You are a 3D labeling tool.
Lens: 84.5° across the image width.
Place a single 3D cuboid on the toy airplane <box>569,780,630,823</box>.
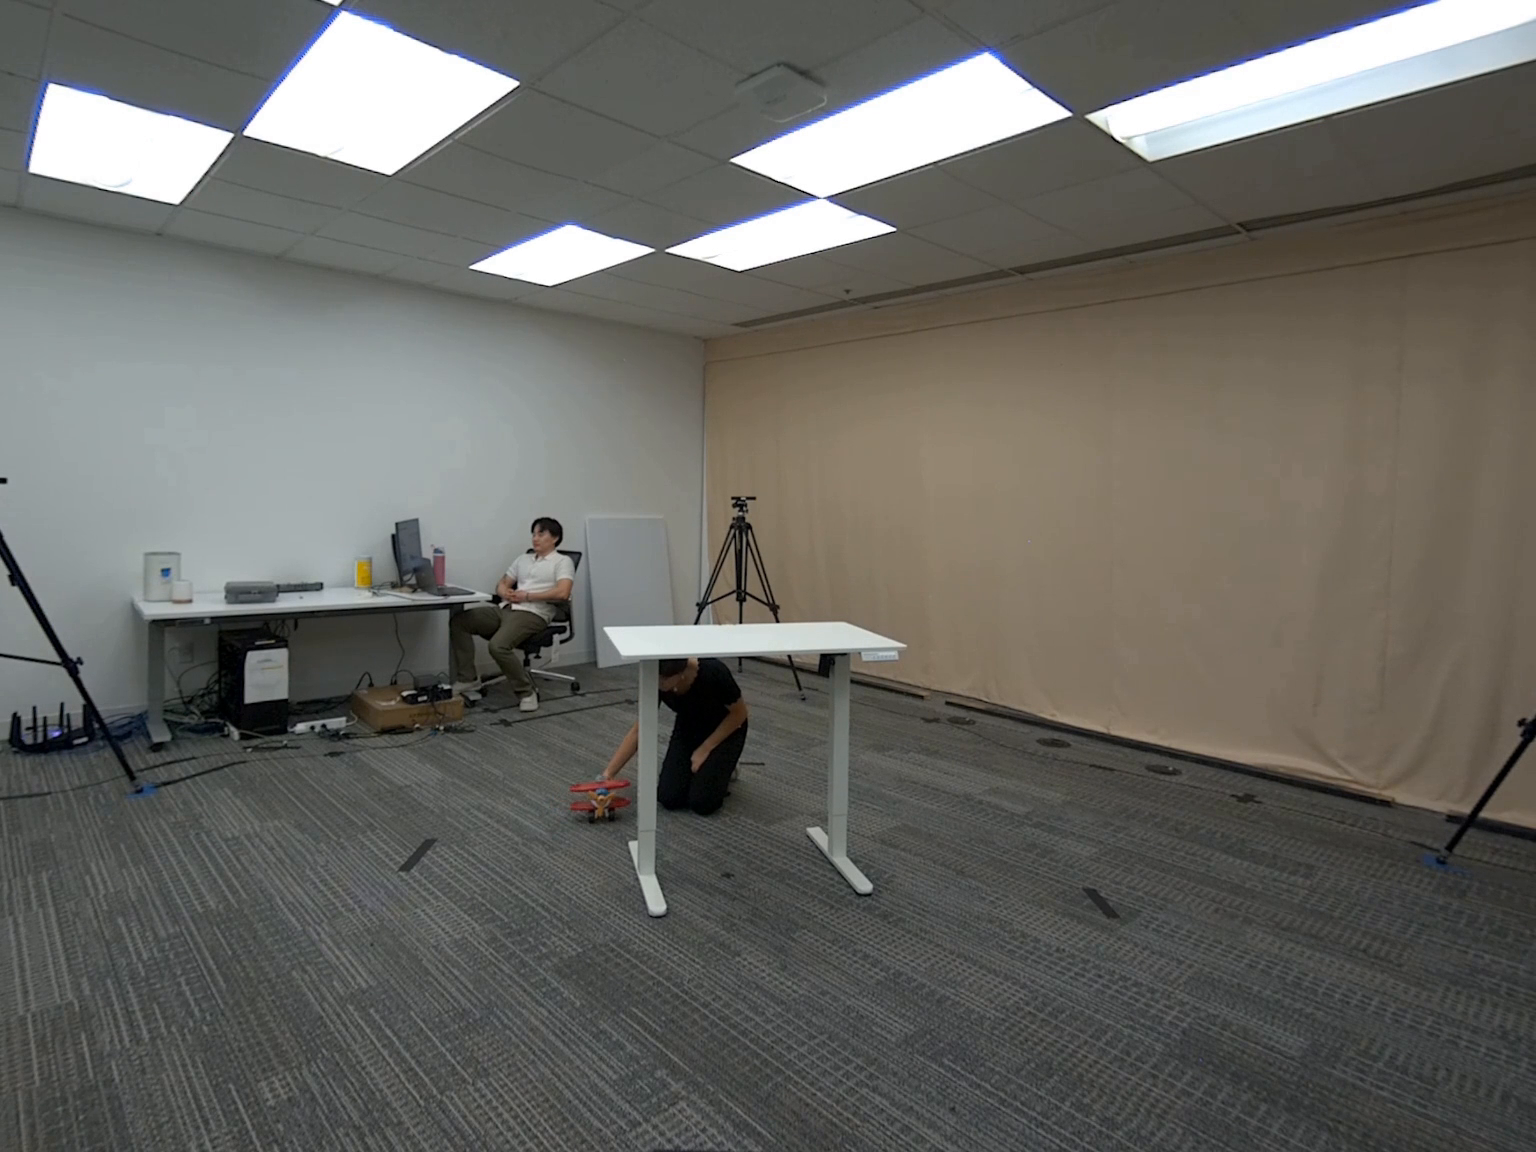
[{"bbox_3d":[-0.762,0.953,3.651,0.246,0.155,0.267,-11,22,-41],"label":"toy airplane"}]
